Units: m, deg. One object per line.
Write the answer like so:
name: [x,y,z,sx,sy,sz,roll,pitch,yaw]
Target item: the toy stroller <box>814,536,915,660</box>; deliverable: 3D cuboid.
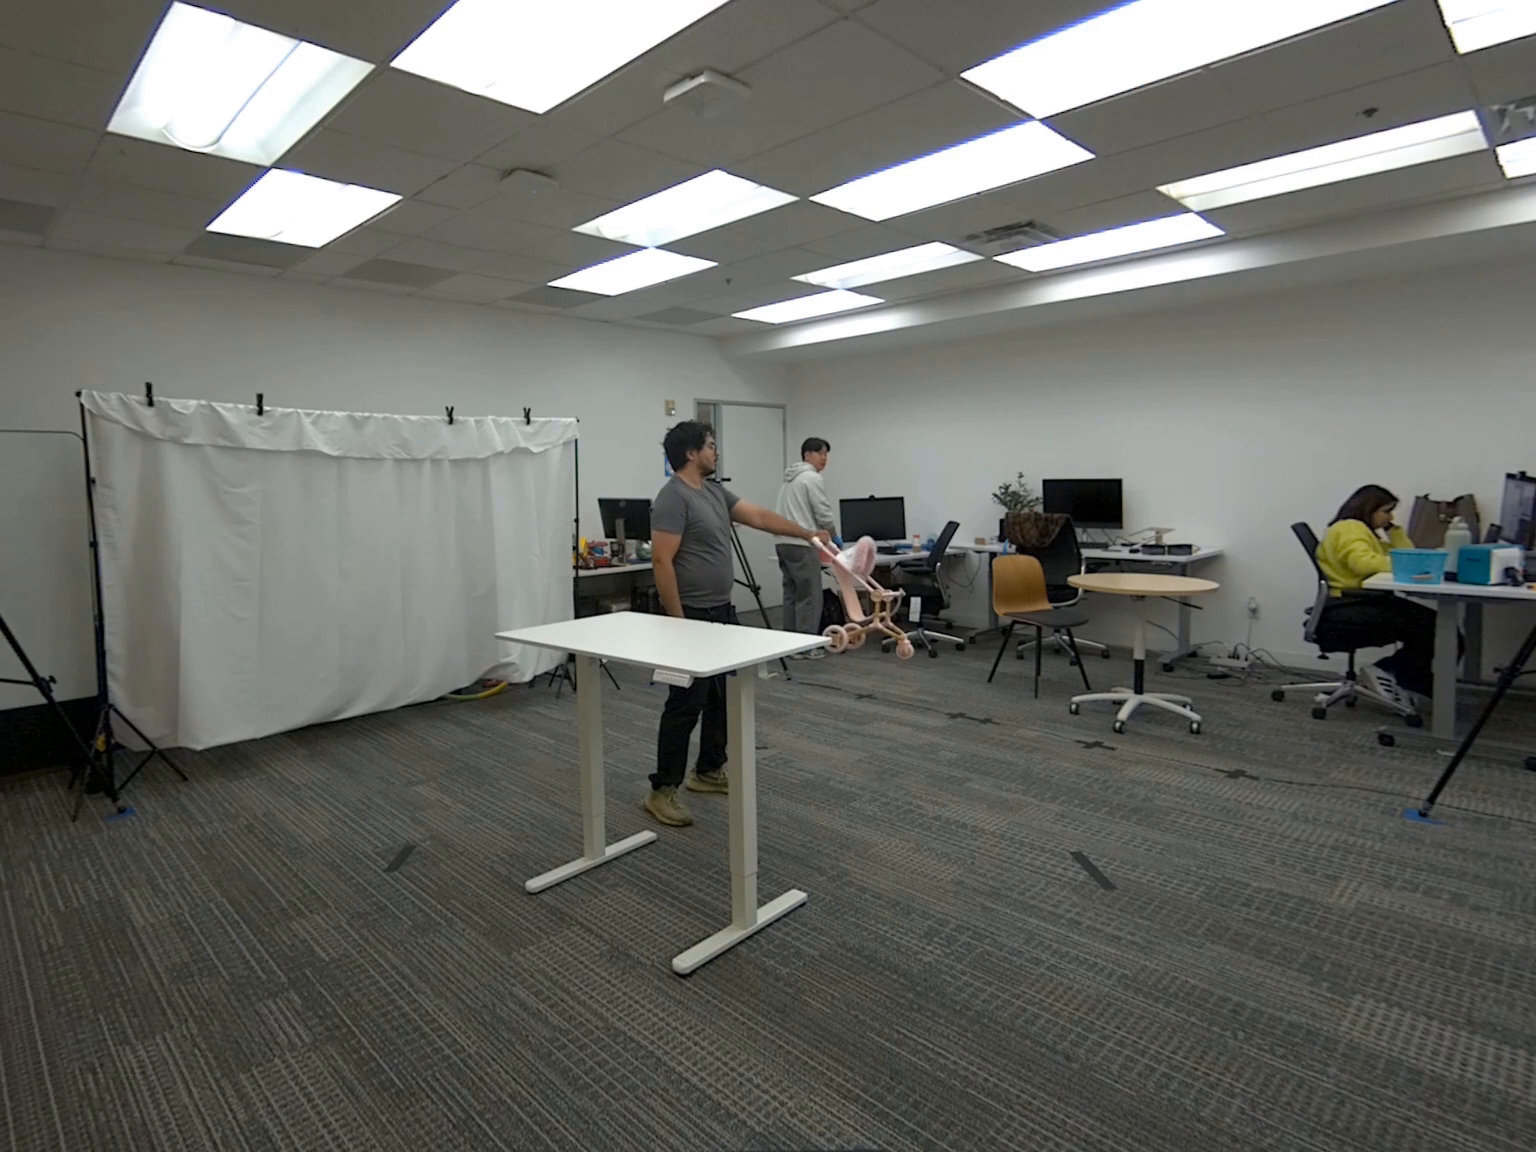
toy stroller: [0.387,0.083,3.445,0.348,0.539,0.274,-11,-7,27]
